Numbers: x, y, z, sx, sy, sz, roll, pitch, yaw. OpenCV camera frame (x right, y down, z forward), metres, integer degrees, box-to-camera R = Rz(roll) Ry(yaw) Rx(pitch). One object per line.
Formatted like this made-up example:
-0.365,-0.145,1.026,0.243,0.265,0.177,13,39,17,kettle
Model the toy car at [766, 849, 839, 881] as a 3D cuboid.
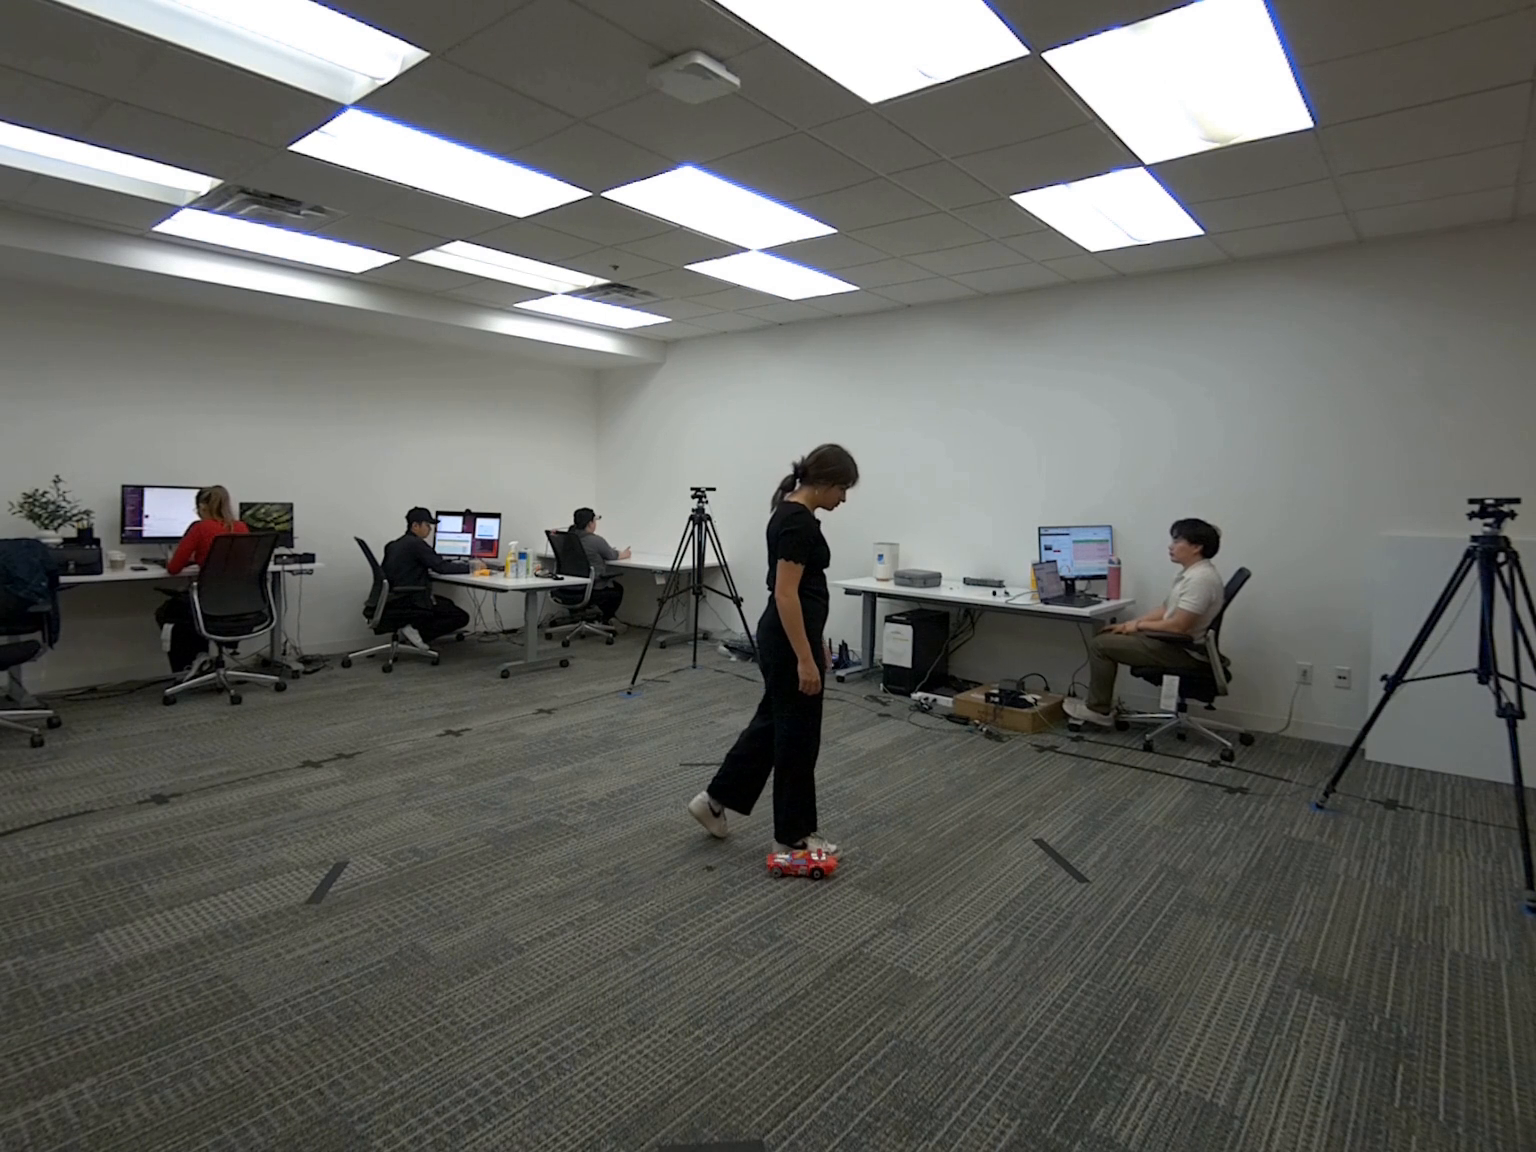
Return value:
0.123,1.041,3.090,0.256,0.083,0.130,-9,4,5,toy car
